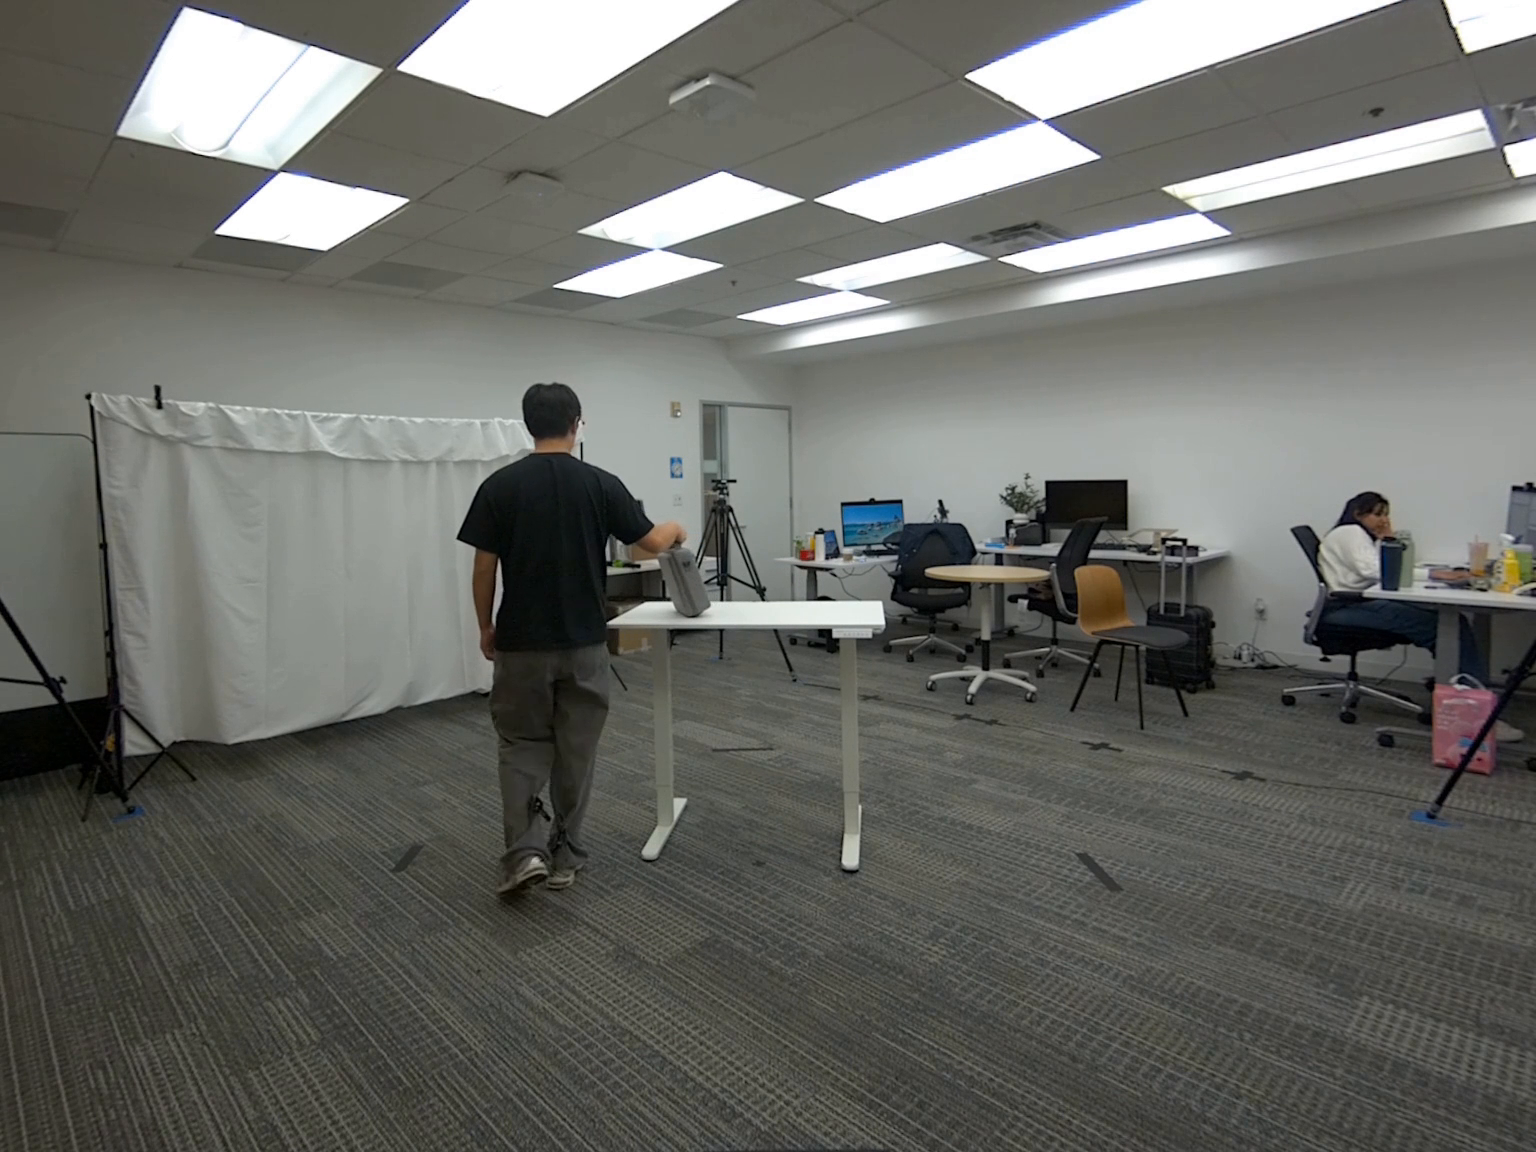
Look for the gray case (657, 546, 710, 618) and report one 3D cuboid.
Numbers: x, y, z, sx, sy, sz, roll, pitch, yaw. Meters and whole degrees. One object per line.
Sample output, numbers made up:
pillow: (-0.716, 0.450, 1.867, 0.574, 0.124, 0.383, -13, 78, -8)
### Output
gray case: (-0.327, 0.006, 3.307, 0.102, 0.285, 0.267, -16, 7, -13)
